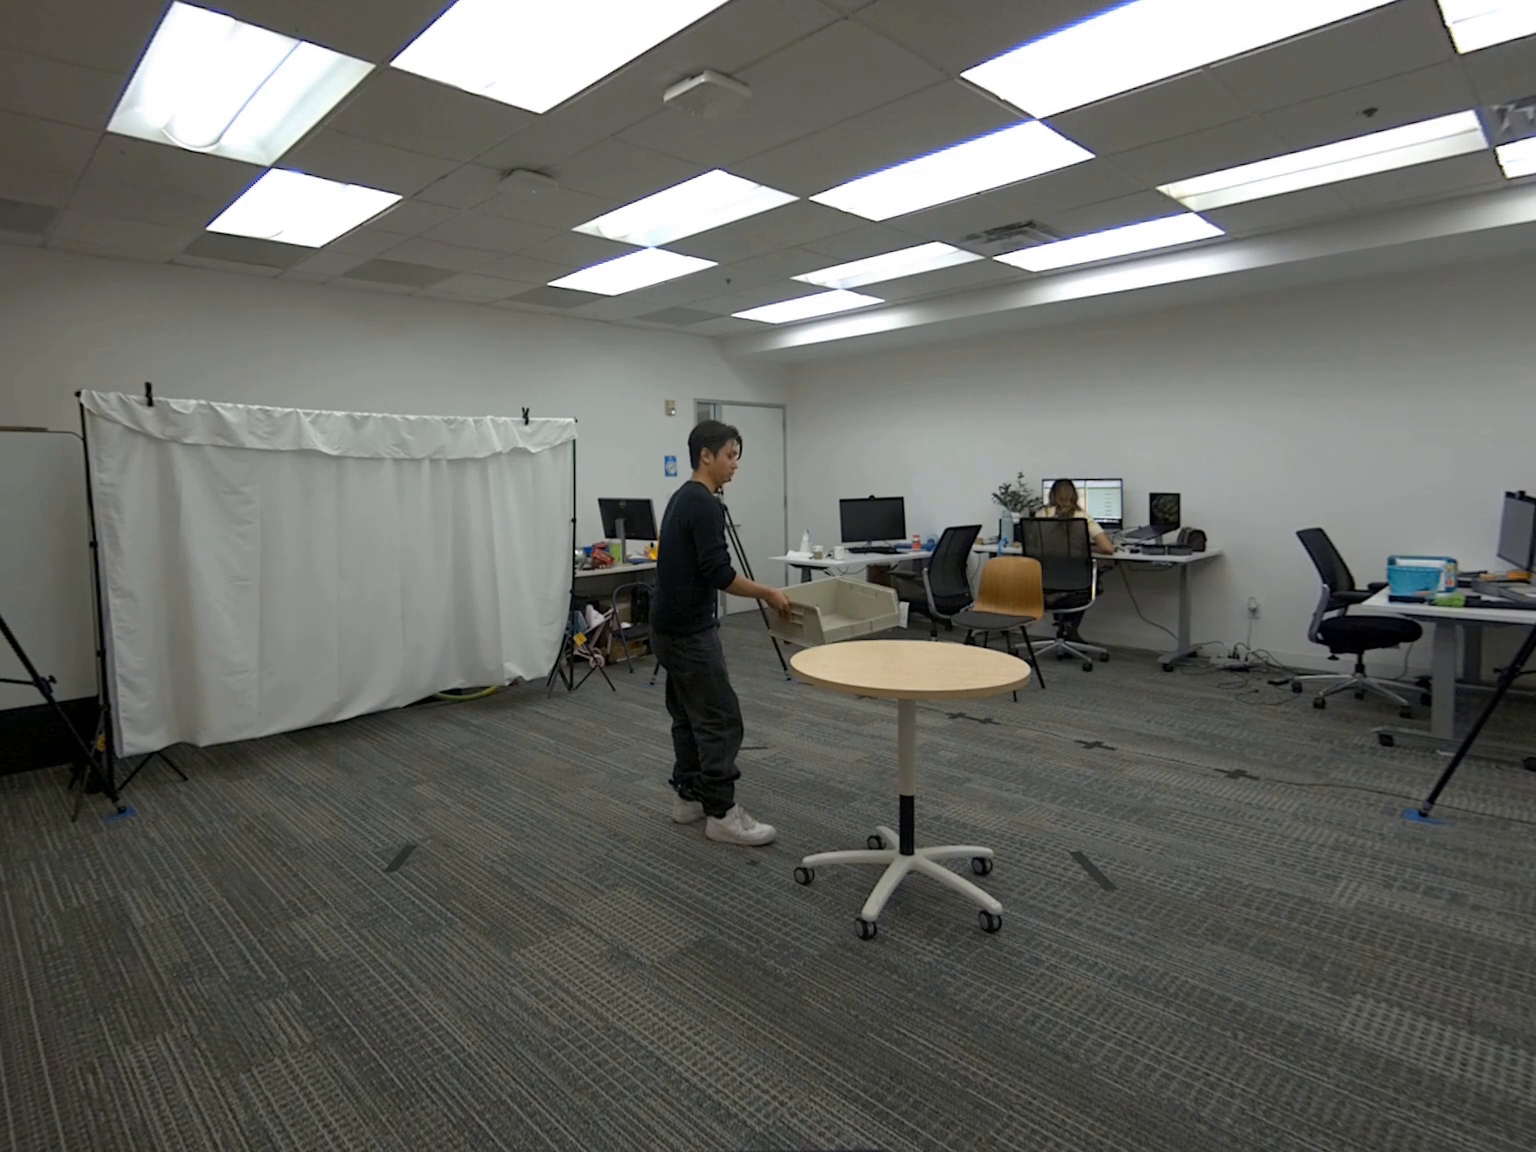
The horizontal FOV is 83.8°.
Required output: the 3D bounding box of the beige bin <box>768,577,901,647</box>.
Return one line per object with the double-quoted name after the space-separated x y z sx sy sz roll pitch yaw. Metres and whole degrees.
0.260 0.152 3.517 0.413 0.187 0.389 -11 13 -34 "beige bin"
